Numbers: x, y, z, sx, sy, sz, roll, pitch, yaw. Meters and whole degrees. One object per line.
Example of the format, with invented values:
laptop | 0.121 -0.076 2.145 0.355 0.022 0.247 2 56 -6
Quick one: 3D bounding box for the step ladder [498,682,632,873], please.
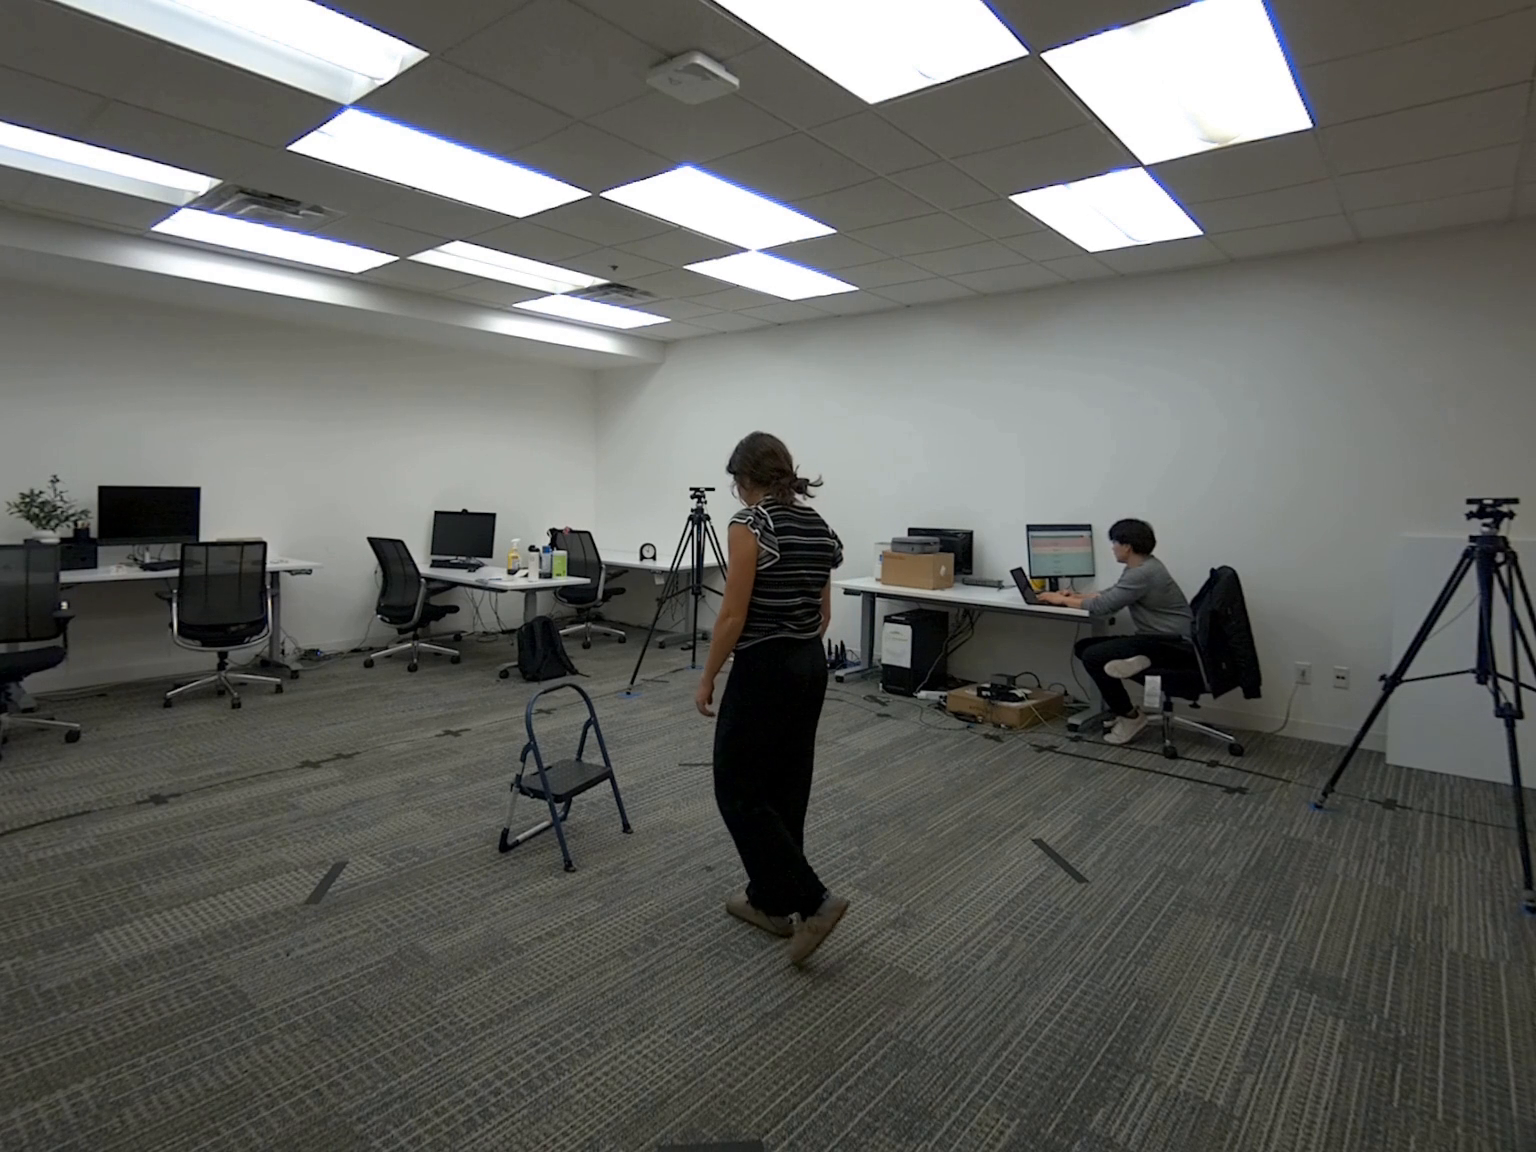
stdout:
step ladder | -0.788 0.735 3.308 0.358 0.604 0.421 3 4 24
